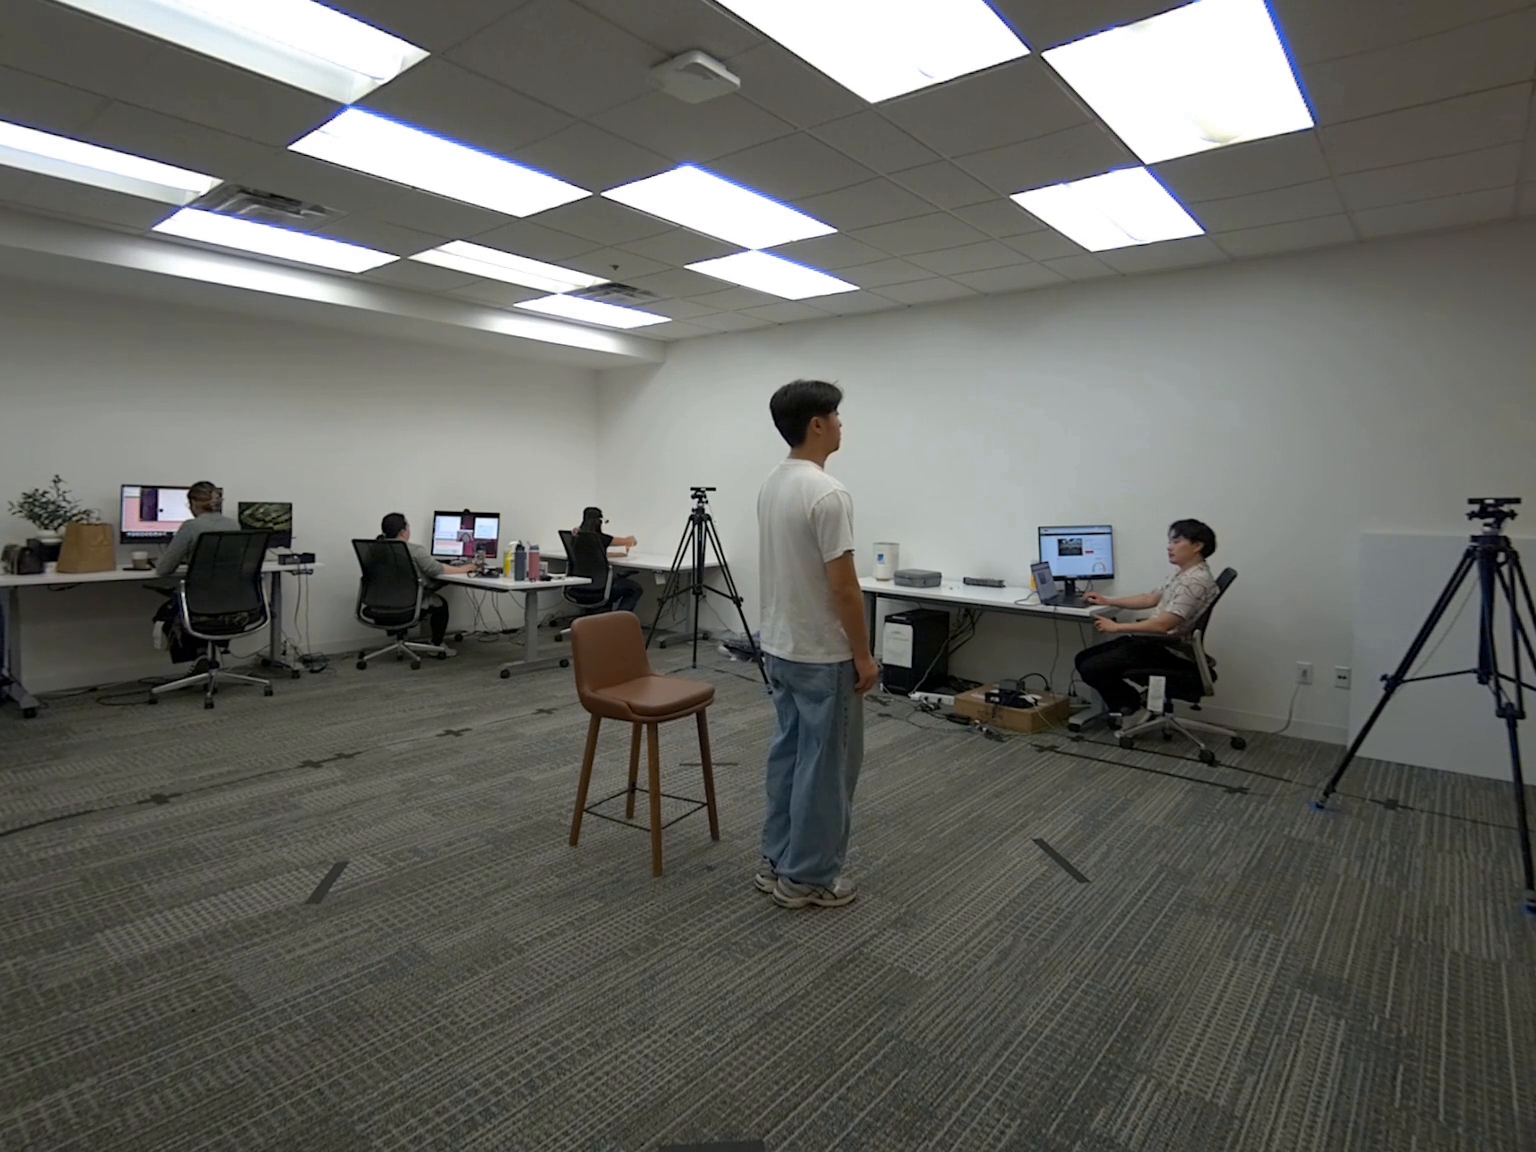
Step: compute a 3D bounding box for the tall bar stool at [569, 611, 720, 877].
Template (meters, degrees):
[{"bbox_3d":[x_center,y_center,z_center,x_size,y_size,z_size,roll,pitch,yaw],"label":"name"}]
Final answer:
[{"bbox_3d":[-0.490,0.604,3.310,0.481,0.889,0.444,0,2,32],"label":"tall bar stool"}]
